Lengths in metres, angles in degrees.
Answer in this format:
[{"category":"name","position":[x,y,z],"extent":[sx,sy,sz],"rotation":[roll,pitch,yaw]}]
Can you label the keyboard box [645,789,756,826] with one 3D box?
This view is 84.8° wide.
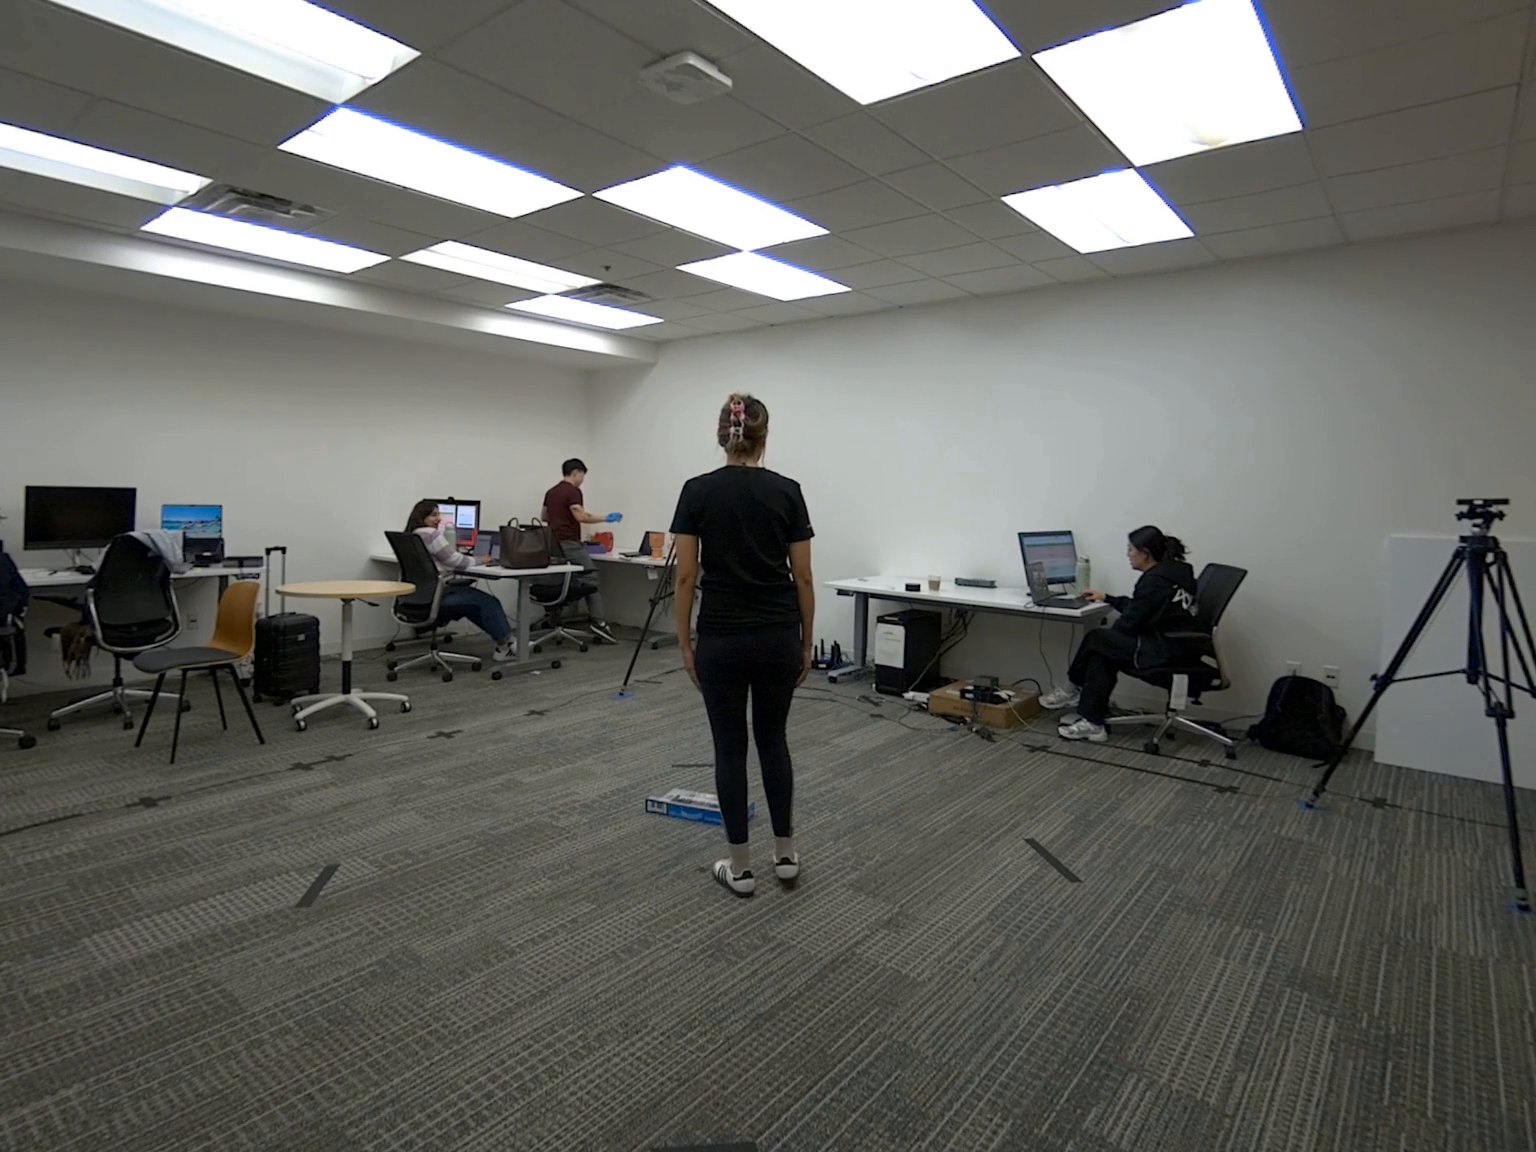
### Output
[{"category":"keyboard box","position":[-0.302,0.985,3.649],"extent":[0.447,0.059,0.172],"rotation":[3,5,22]}]
